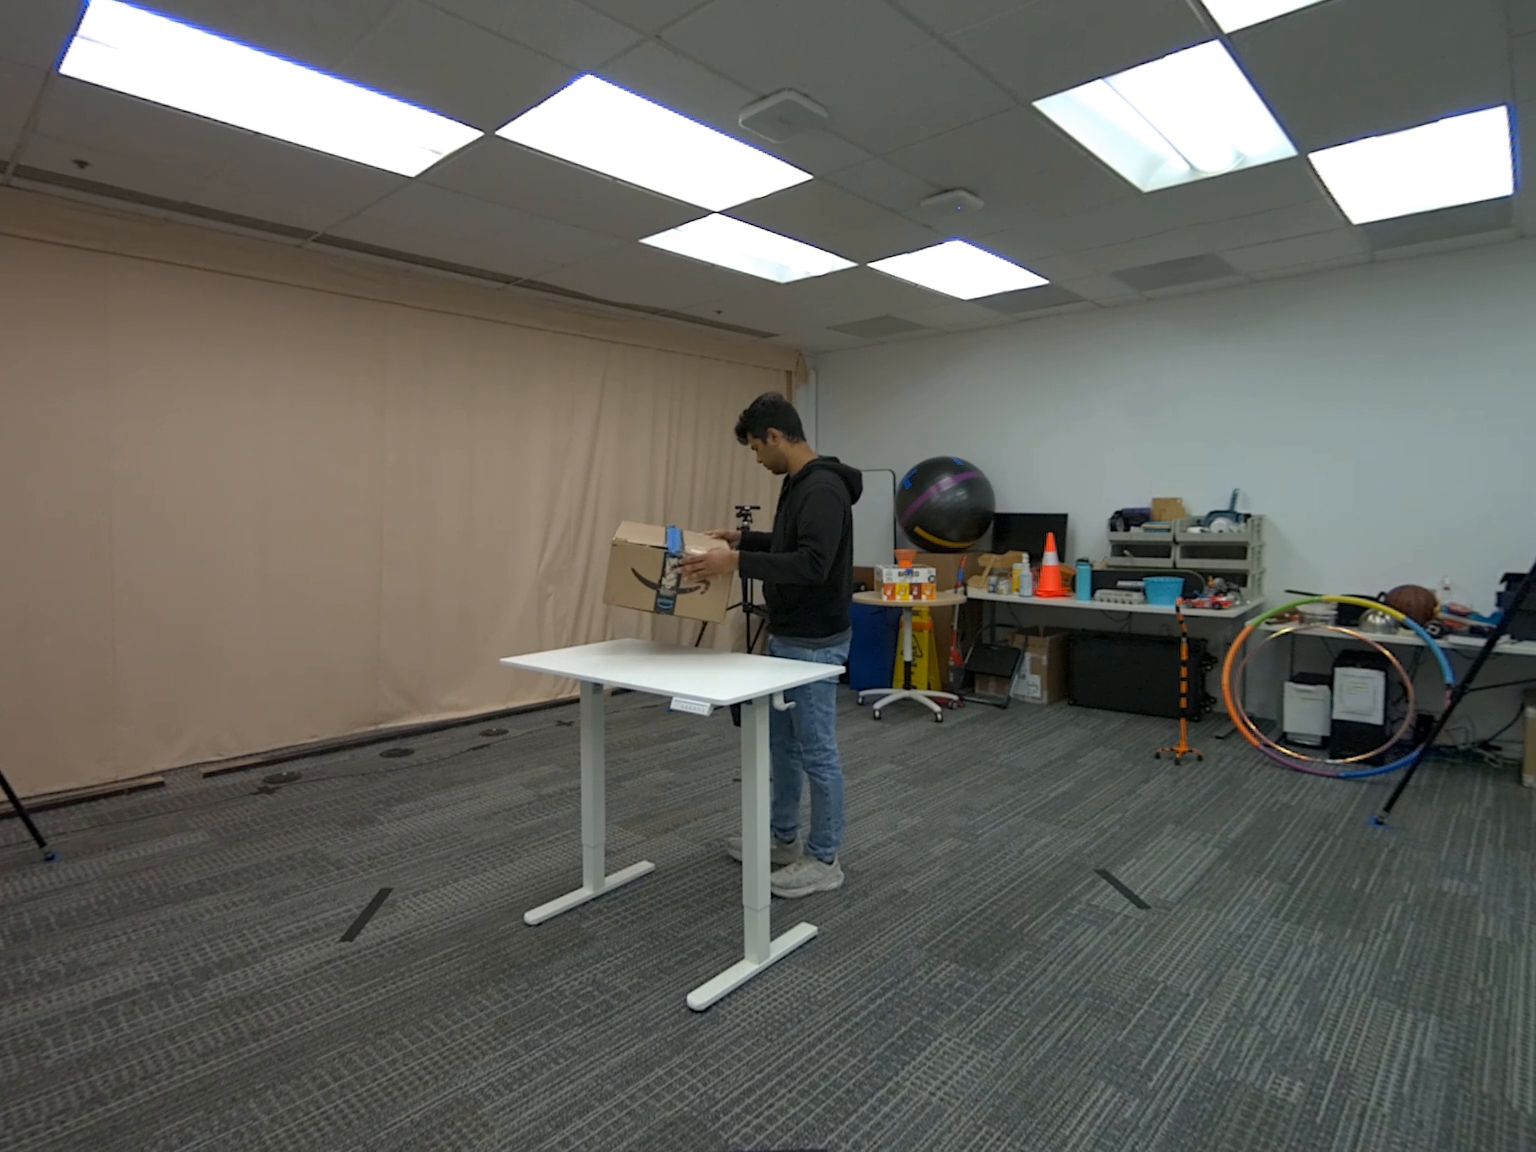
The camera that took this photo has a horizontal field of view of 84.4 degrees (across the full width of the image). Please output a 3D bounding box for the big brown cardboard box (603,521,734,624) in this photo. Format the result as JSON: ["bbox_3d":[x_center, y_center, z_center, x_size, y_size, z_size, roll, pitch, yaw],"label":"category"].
[{"bbox_3d":[-0.350,-0.022,3.067,0.416,0.232,0.594,9,8,-5],"label":"big brown cardboard box"}]
